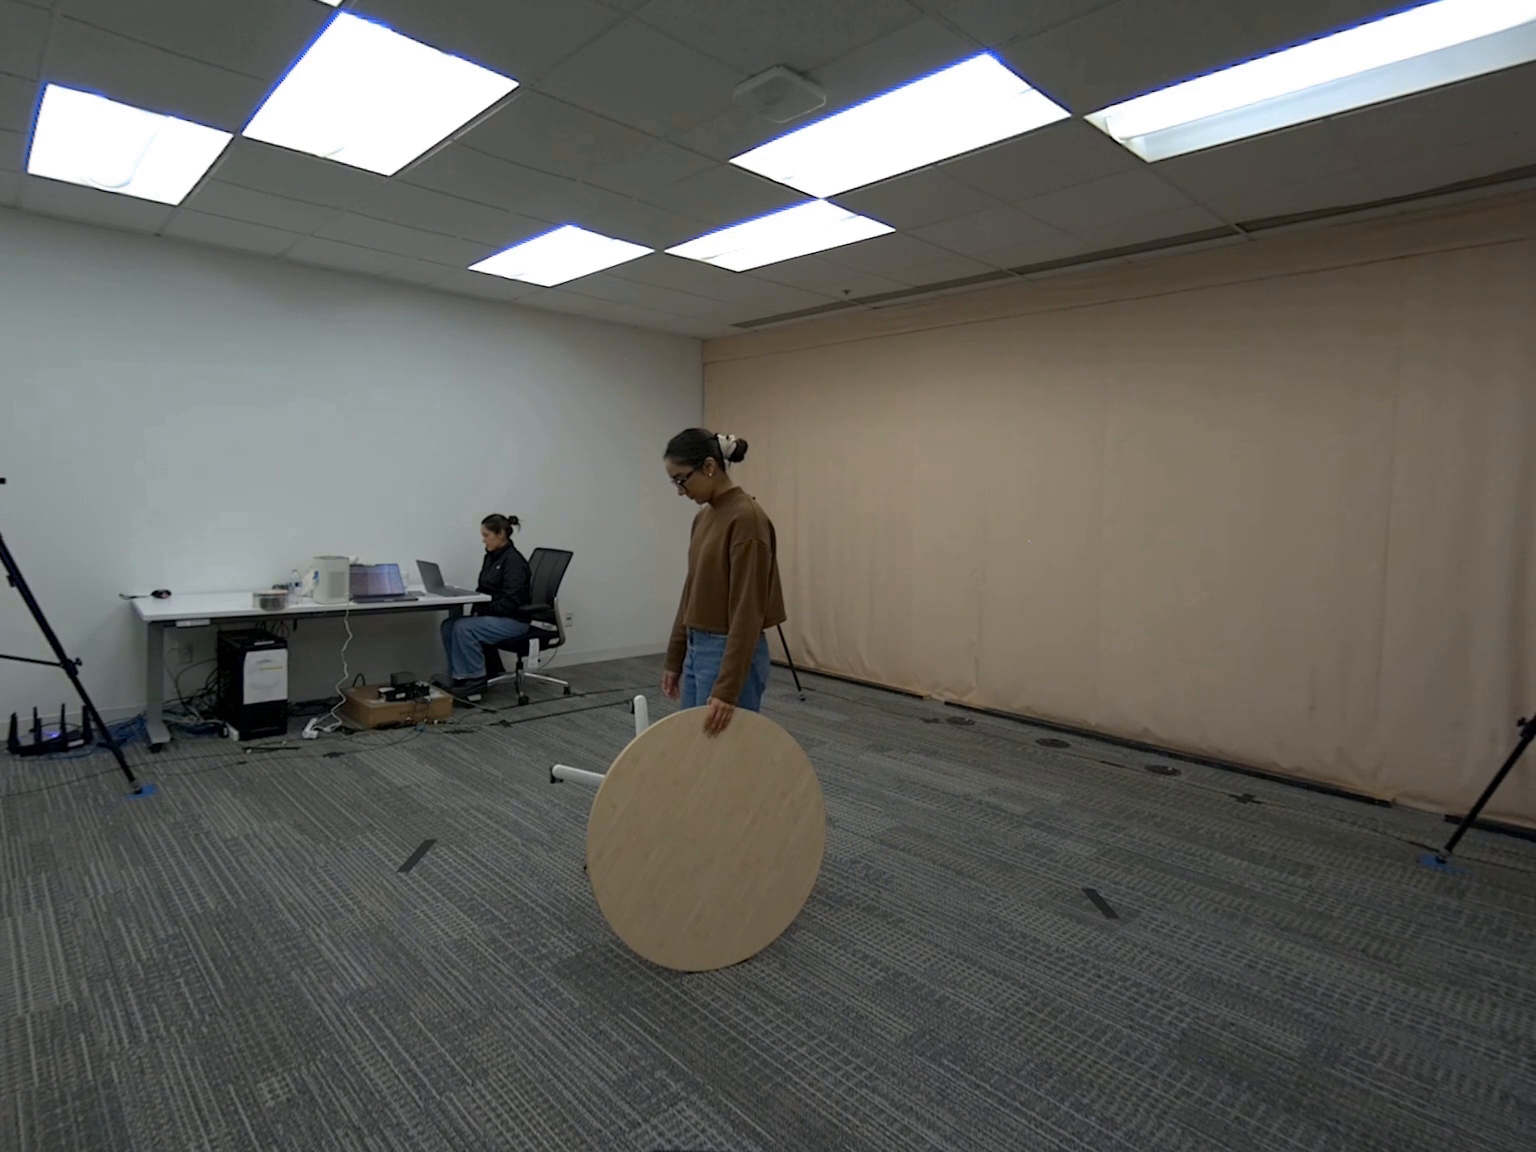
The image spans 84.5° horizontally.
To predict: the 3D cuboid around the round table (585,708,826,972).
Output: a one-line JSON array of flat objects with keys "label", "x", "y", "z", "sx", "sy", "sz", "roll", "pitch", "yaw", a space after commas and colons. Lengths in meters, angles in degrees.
[{"label": "round table", "x": -0.344, "y": 0.789, "z": 2.872, "sx": 0.750, "sy": 0.766, "sz": 0.806, "roll": -1, "pitch": -3, "yaw": -25}]
